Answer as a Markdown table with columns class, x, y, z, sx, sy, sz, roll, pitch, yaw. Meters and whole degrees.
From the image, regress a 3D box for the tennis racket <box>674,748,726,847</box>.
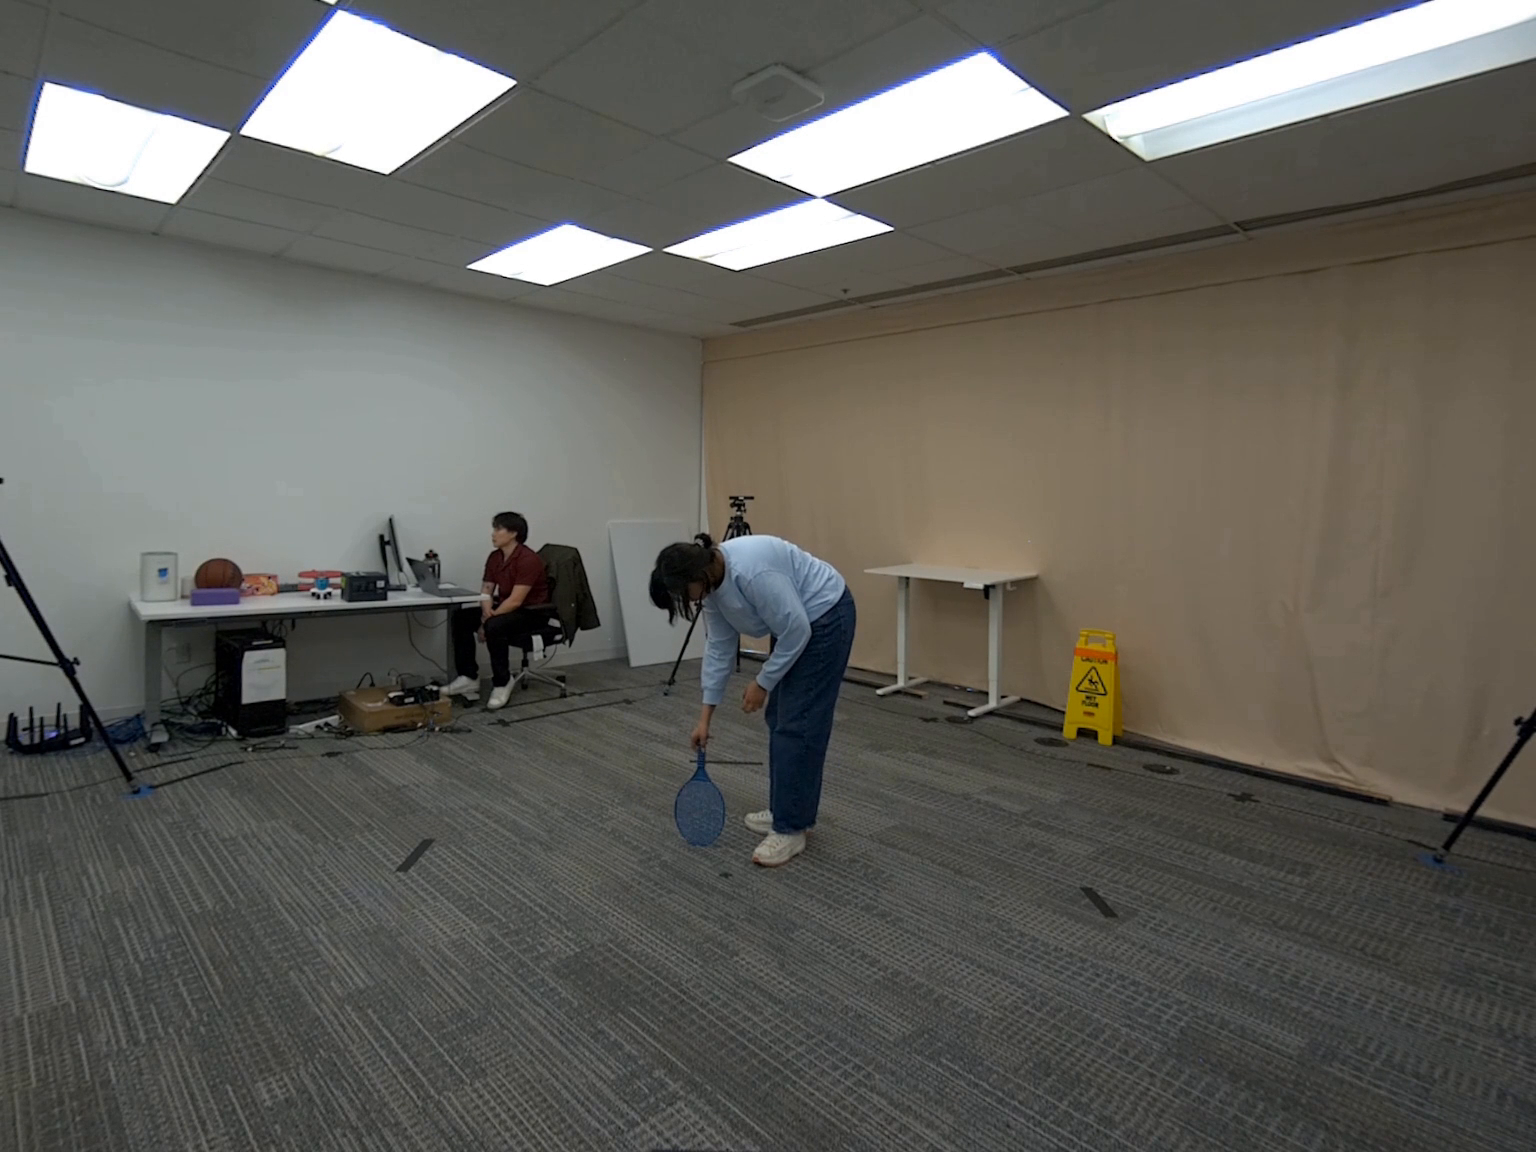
| class | x | y | z | sx | sy | sz | roll | pitch | yaw |
| --- | --- | --- | --- | --- | --- | --- | --- | --- | --- |
| tennis racket | -0.272 | 0.860 | 3.373 | 0.216 | 0.434 | 0.031 | 0 | -3 | 16 |
